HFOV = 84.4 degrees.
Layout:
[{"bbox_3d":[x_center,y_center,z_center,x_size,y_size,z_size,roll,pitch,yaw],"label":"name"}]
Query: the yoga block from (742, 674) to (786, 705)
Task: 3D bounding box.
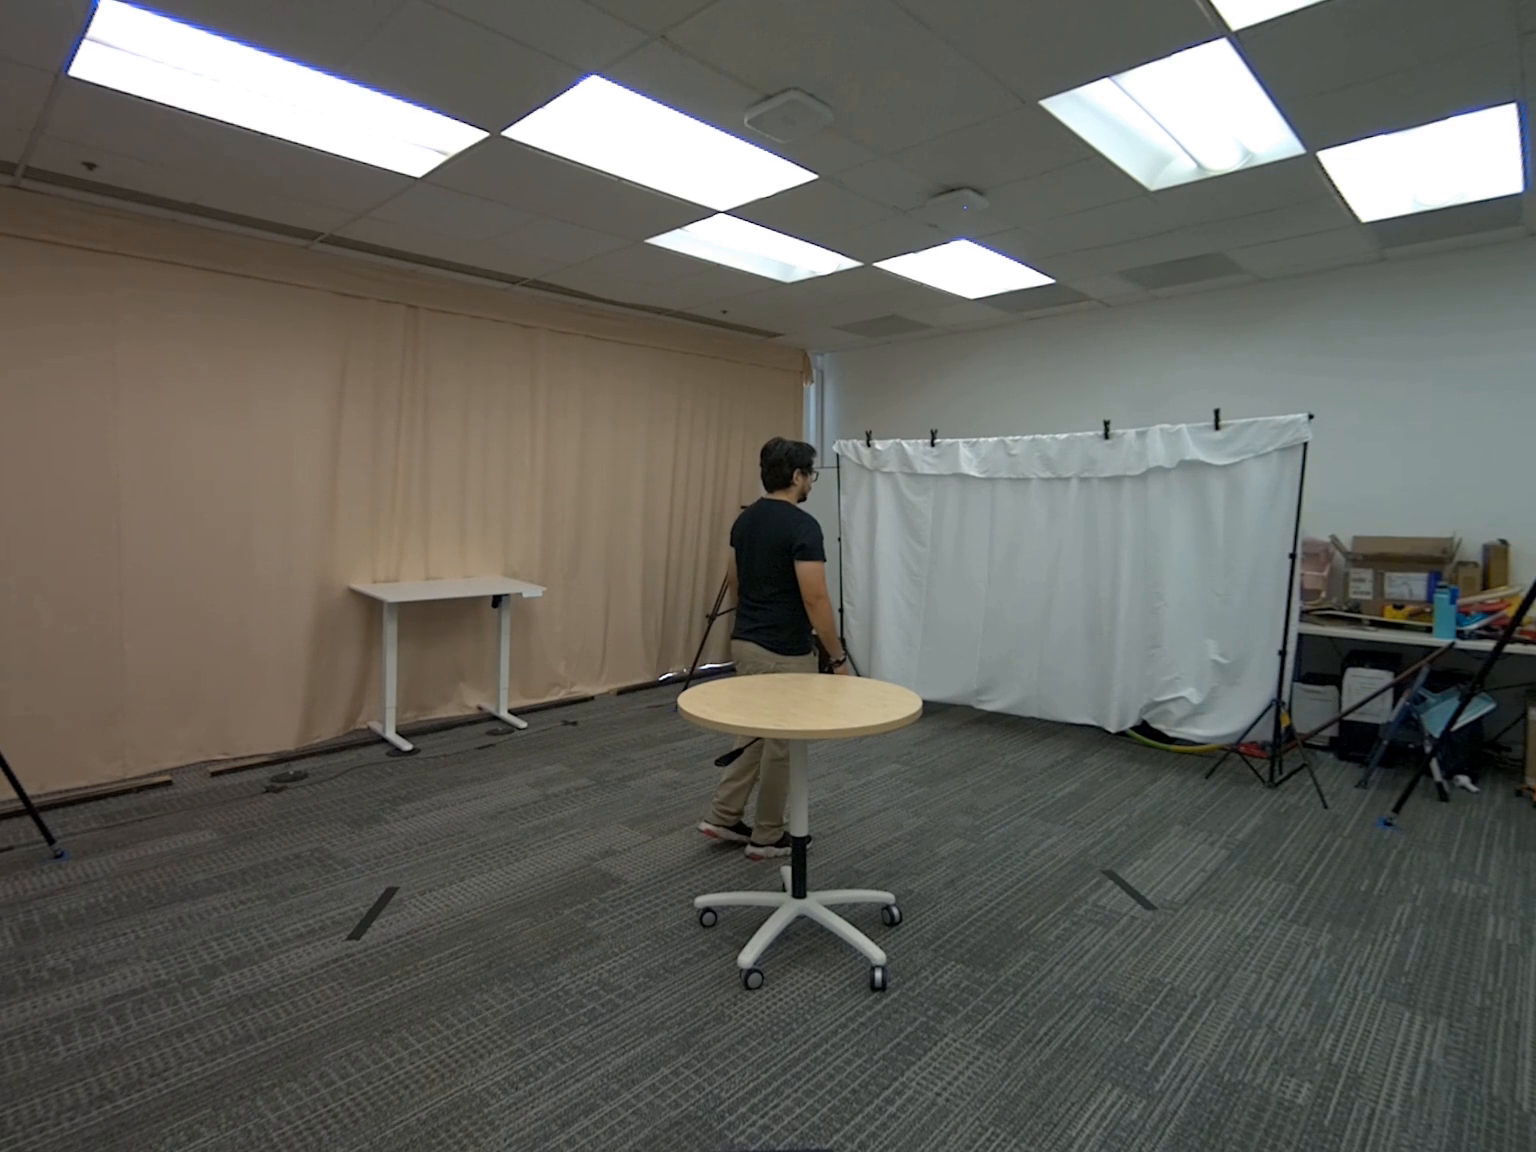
[{"bbox_3d":[-0.033,0.416,3.679,0.078,0.225,0.148,-13,25,36],"label":"yoga block"}]
